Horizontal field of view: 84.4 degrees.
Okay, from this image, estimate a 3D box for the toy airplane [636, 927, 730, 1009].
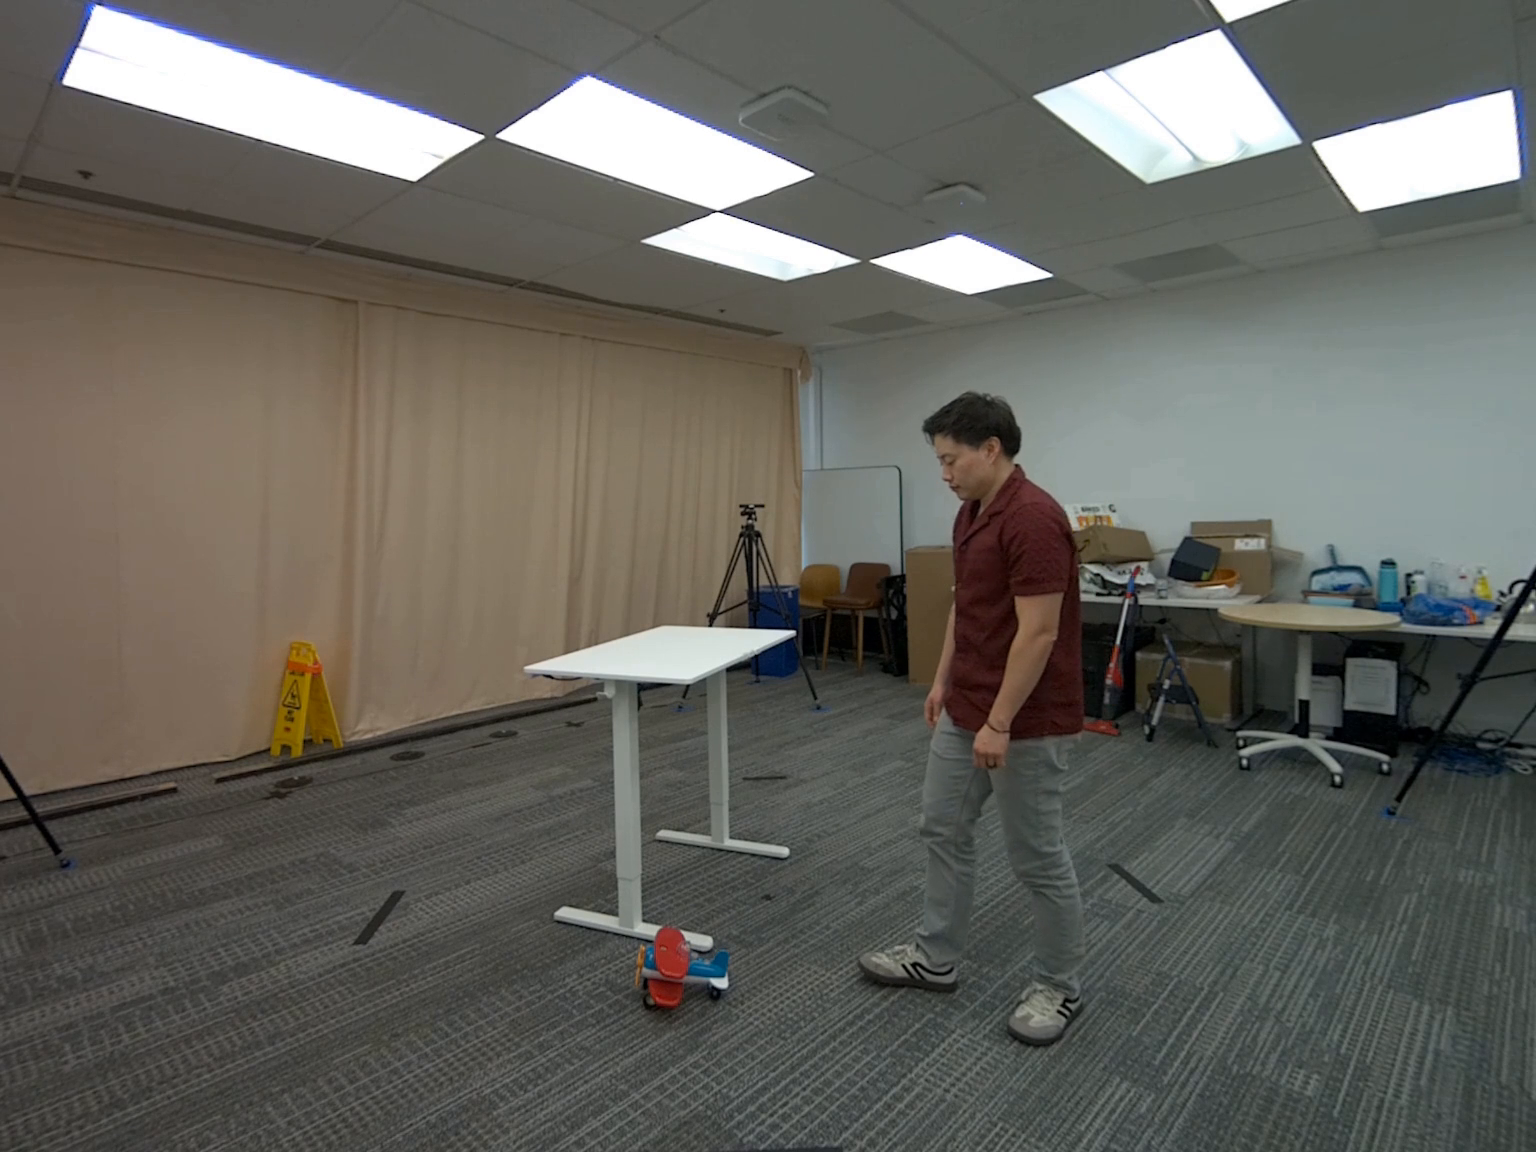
[{"bbox_3d":[-0.247,1.123,2.394,0.252,0.156,0.258,-5,5,-32],"label":"toy airplane"}]
